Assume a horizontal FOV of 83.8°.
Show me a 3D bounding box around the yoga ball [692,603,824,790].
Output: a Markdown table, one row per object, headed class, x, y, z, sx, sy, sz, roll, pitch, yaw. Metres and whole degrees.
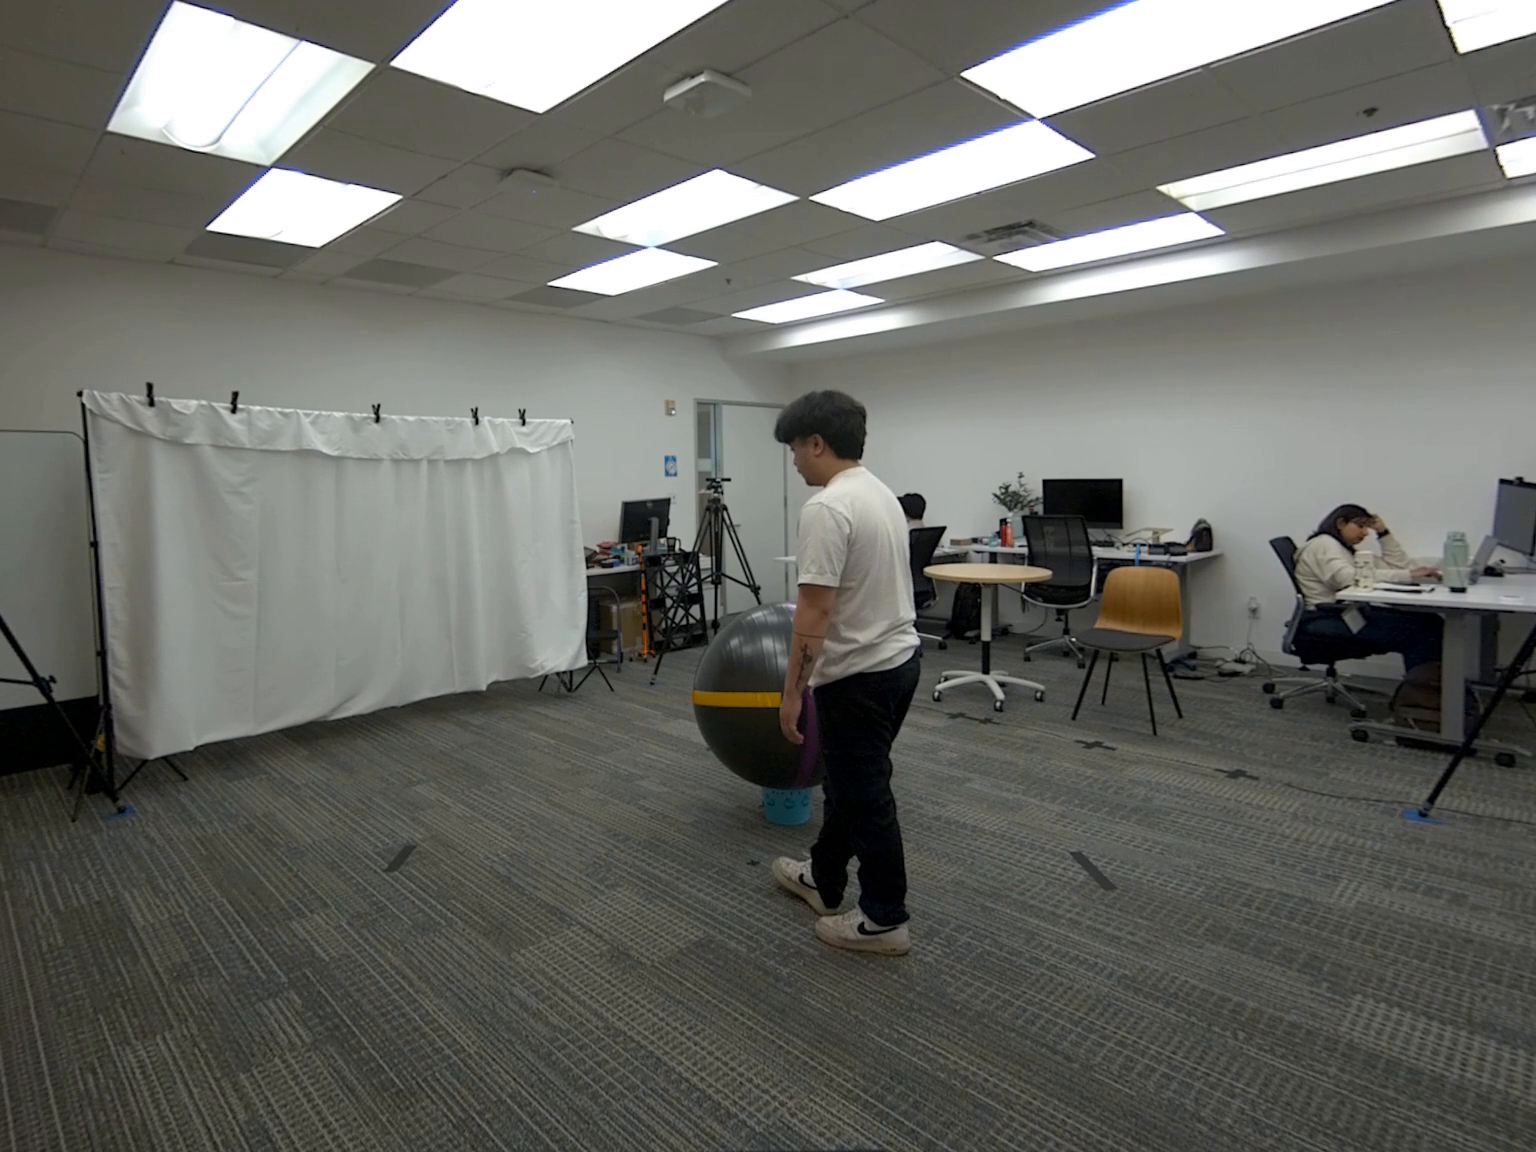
| class | x | y | z | sx | sy | sz | roll | pitch | yaw |
| --- | --- | --- | --- | --- | --- | --- | --- | --- | --- |
| yoga ball | 0.077 | 0.483 | 3.502 | 0.757 | 0.755 | 0.762 | -1 | 5 | -2 |
